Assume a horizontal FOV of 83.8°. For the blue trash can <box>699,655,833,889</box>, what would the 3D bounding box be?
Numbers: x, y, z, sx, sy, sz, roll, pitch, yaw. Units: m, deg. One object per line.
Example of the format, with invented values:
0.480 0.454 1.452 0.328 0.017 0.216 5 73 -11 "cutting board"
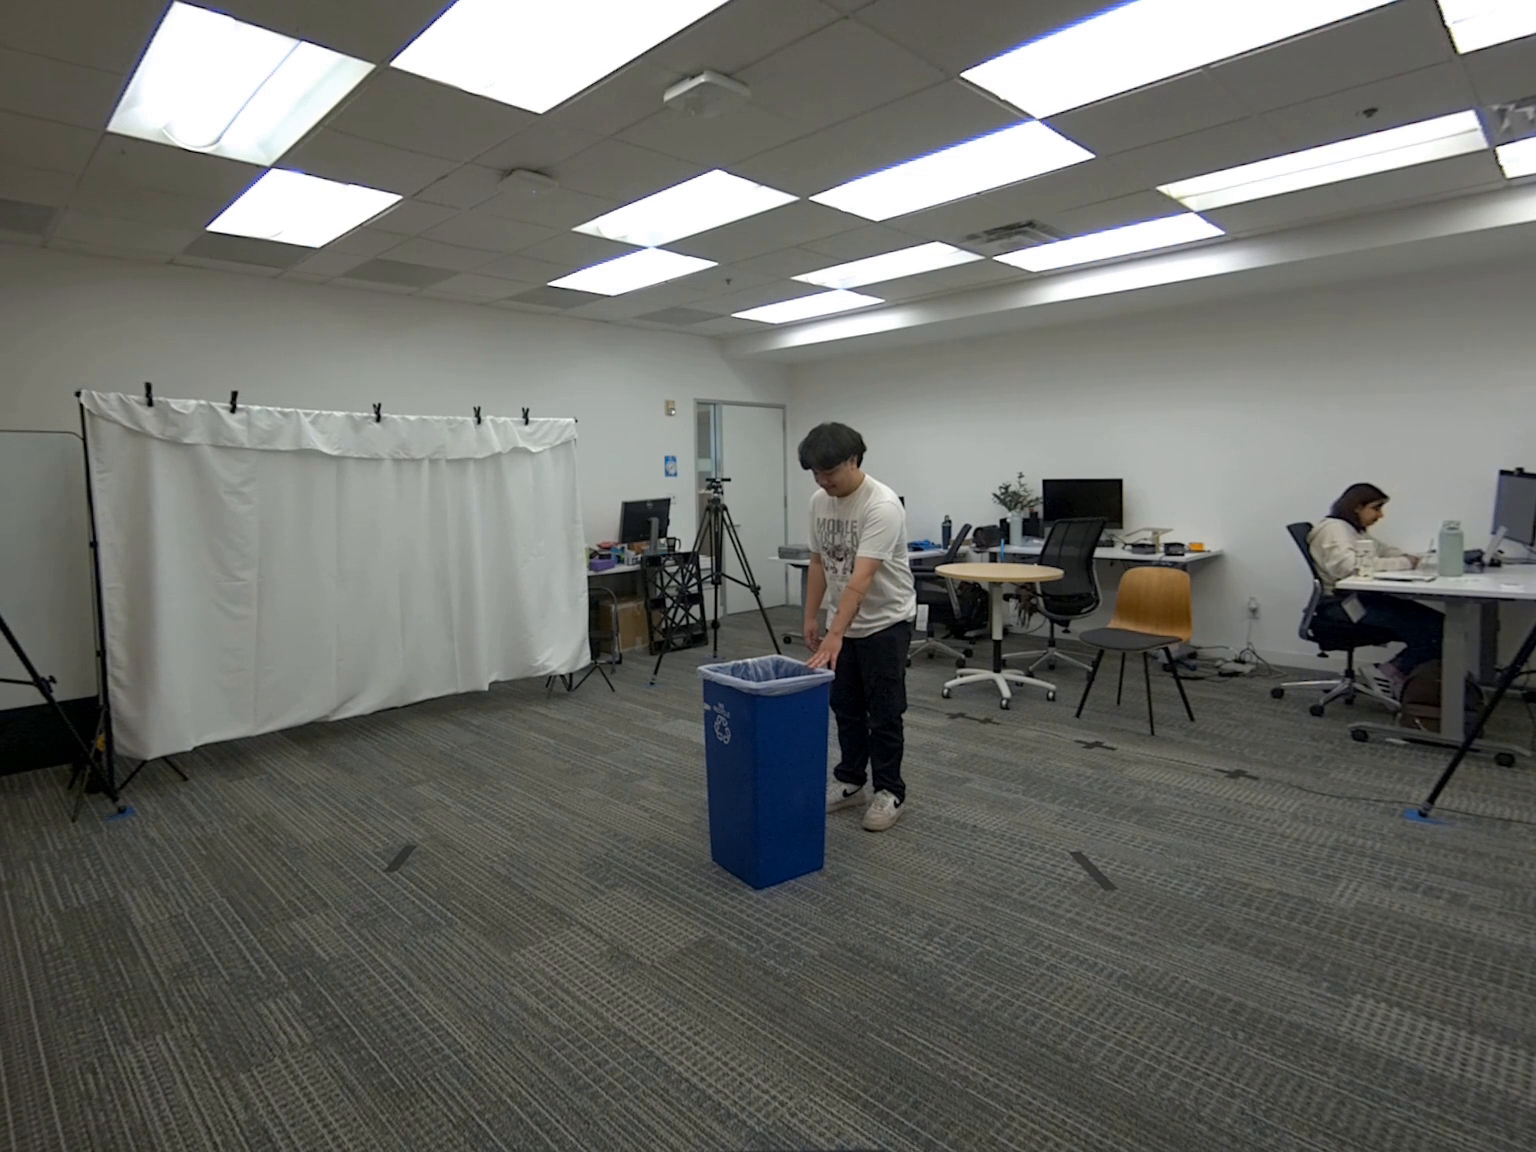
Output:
0.001 0.686 3.068 0.368 0.711 0.385 -4 5 -35 "blue trash can"
